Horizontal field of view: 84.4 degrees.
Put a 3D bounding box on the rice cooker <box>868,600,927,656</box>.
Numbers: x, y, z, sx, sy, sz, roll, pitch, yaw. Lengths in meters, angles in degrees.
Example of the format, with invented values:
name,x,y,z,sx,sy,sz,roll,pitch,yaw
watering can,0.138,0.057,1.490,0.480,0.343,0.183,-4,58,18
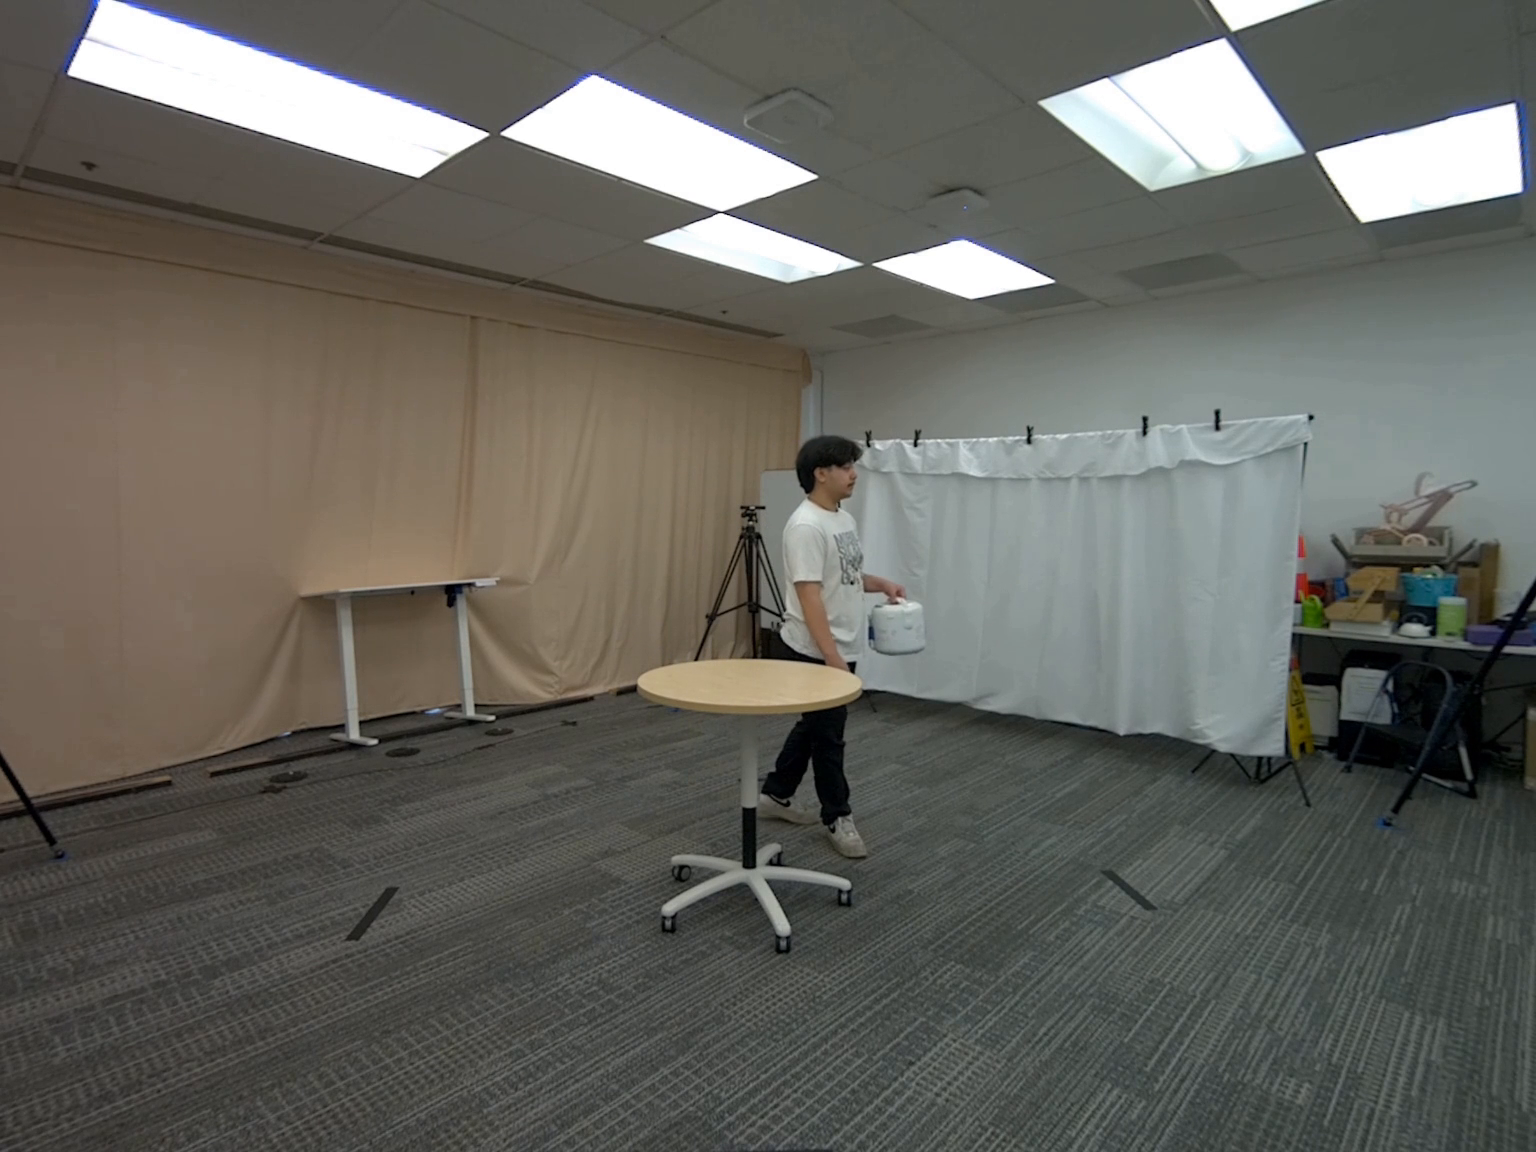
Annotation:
name,x,y,z,sx,sy,sz,roll,pitch,yaw
rice cooker,0.543,0.202,3.487,0.215,0.232,0.224,-6,3,-13
